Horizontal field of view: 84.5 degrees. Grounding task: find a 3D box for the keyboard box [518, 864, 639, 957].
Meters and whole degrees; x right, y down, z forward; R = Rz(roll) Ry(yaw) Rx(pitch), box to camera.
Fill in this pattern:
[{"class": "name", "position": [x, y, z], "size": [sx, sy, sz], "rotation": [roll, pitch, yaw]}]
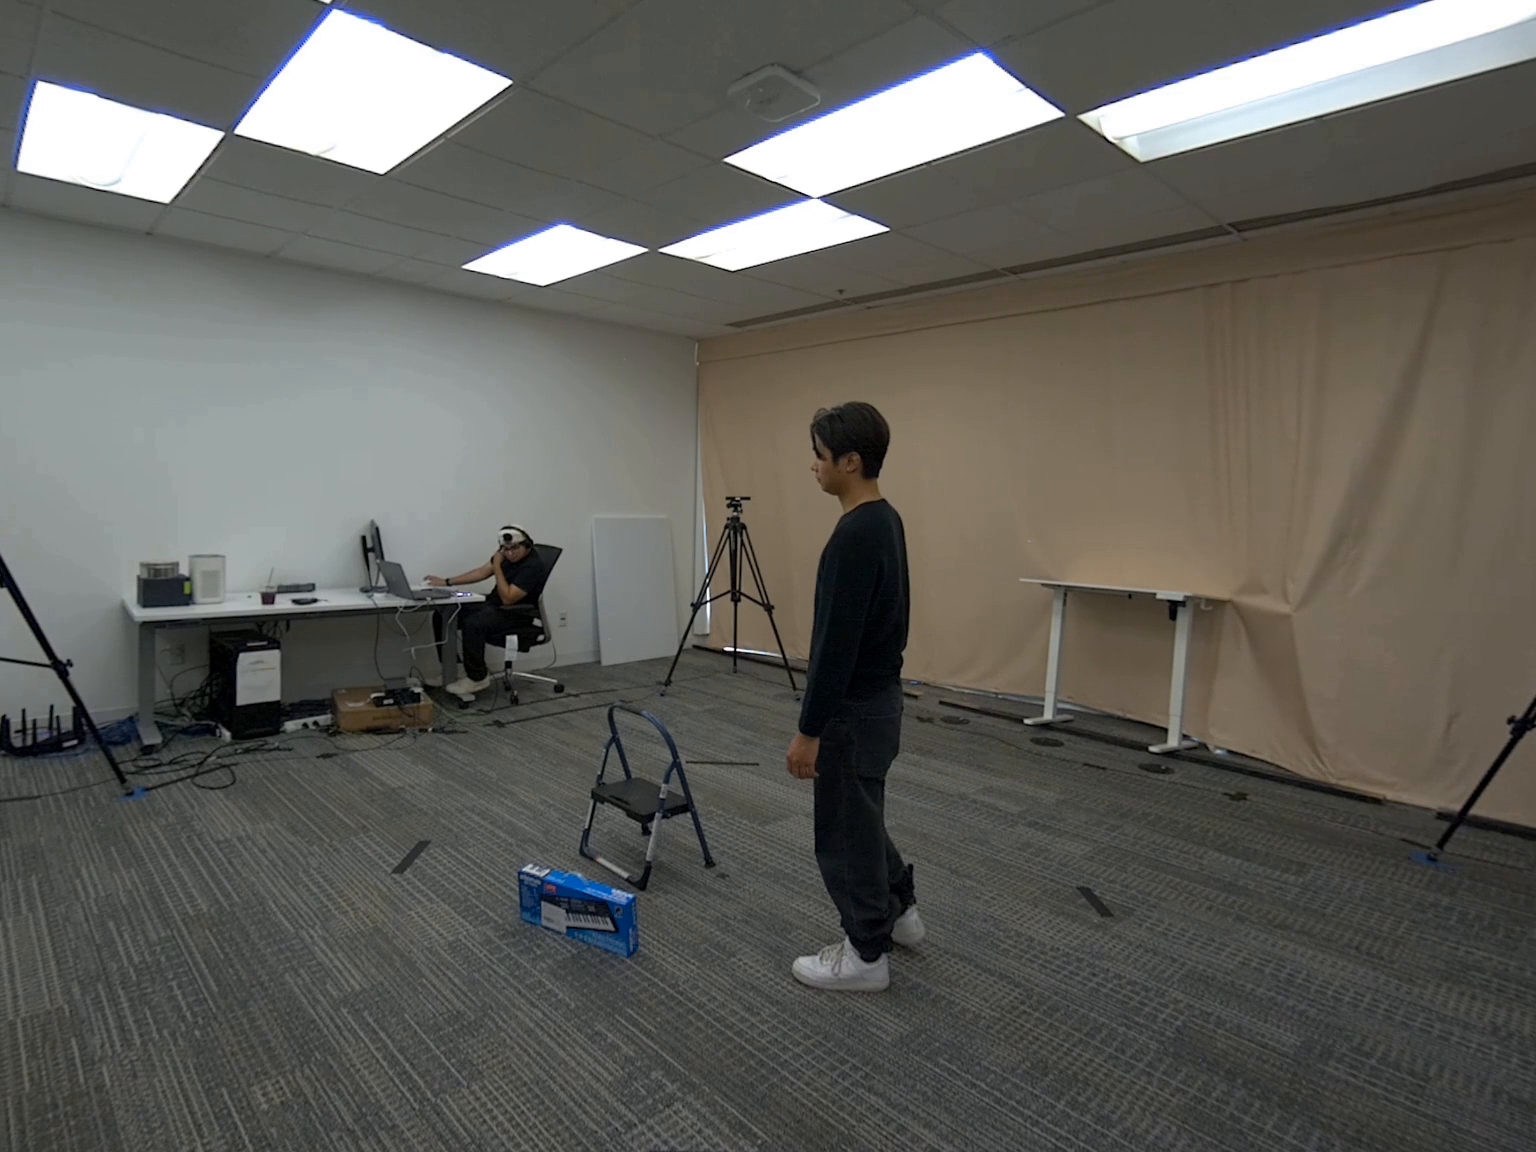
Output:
[{"class": "keyboard box", "position": [-0.621, 1.056, 2.651], "size": [0.446, 0.175, 0.058], "rotation": [4, 10, 30]}]
